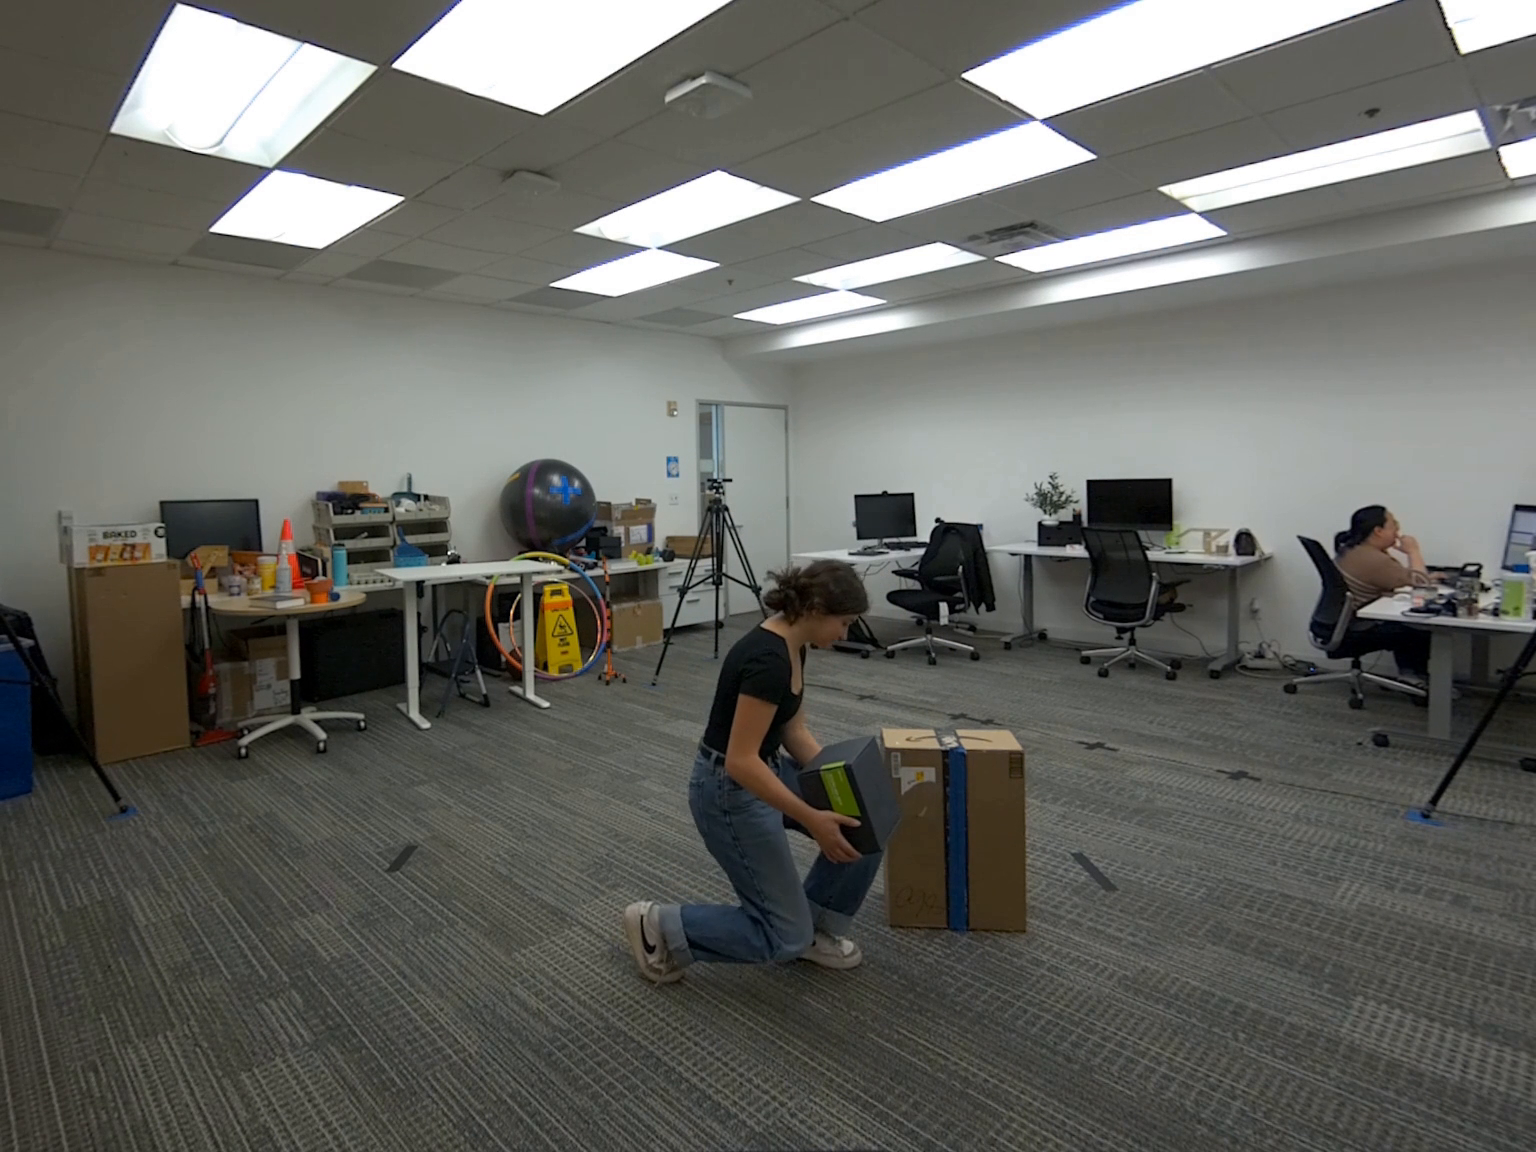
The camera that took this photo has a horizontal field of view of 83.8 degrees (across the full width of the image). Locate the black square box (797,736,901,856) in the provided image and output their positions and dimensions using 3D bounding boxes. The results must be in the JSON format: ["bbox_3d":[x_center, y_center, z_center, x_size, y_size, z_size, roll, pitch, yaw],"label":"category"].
[{"bbox_3d":[0.211,0.567,2.220,0.158,0.228,0.214,-16,1,23],"label":"black square box"}]
